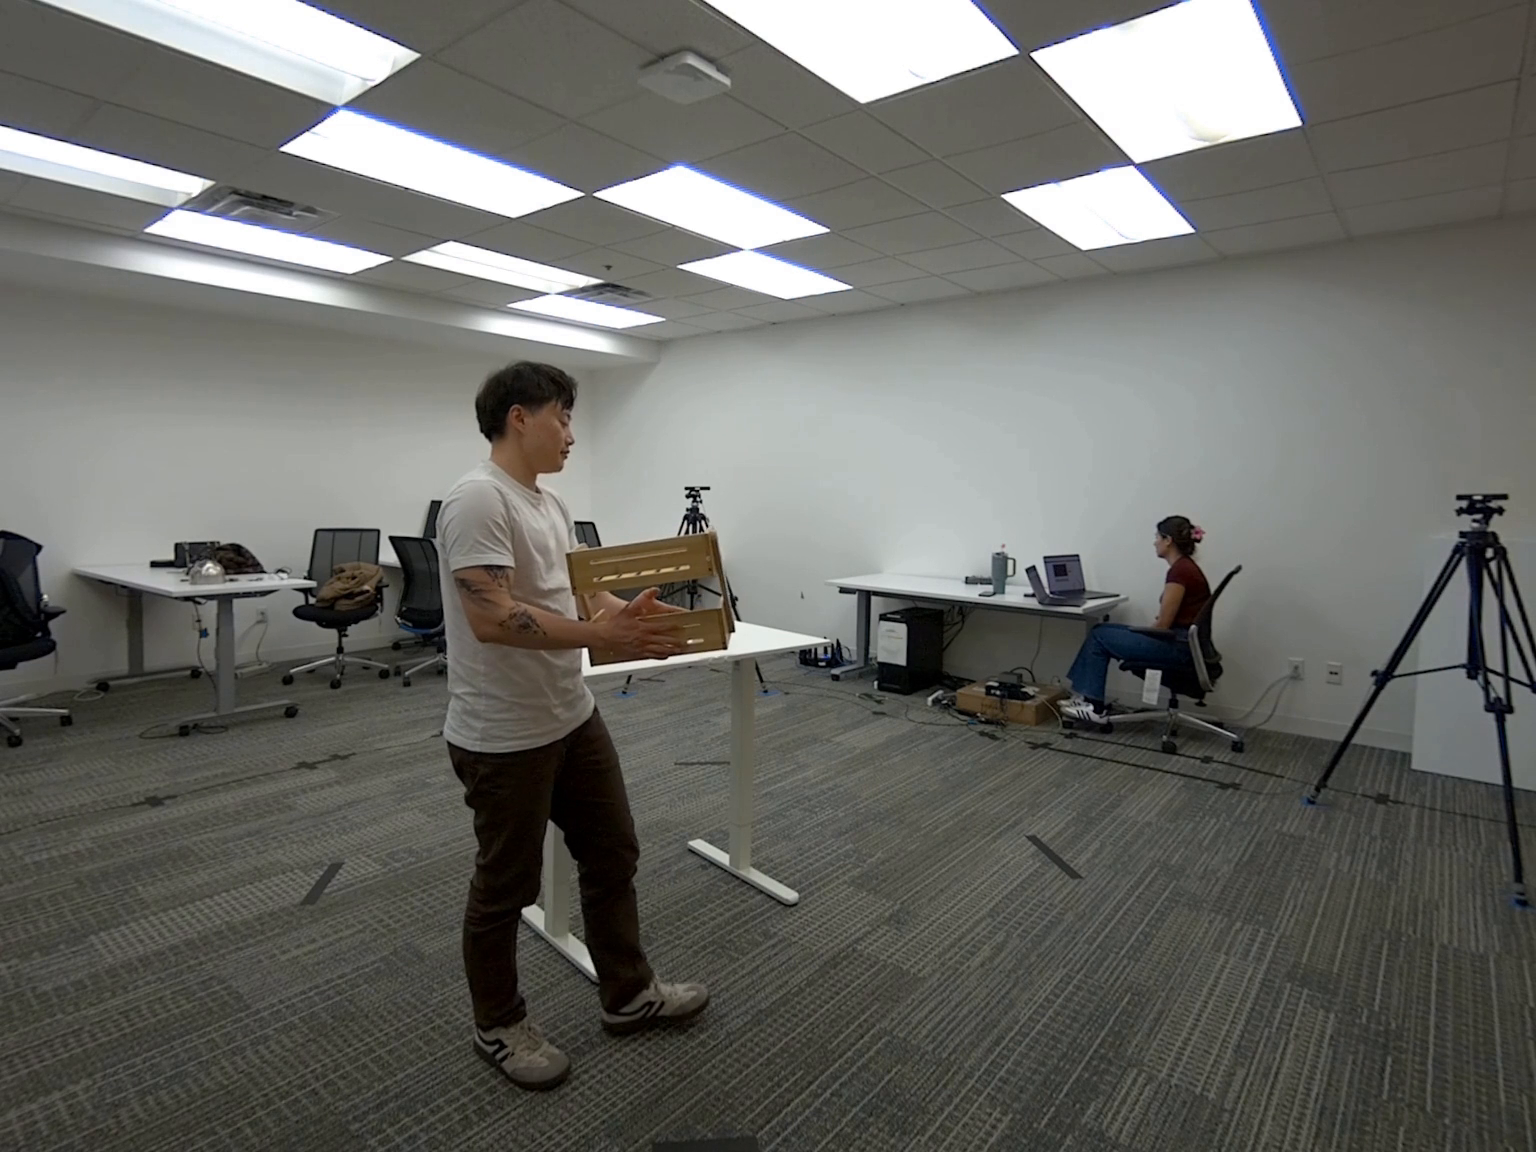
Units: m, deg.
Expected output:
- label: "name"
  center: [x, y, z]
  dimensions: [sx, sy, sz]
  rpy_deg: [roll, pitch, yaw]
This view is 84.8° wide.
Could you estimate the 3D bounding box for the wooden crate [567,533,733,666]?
- label: "wooden crate"
  center: [-0.257, 0.035, 1.910]
  dimensions: [0.325, 0.272, 0.303]
  rpy_deg: [-8, 6, 2]
